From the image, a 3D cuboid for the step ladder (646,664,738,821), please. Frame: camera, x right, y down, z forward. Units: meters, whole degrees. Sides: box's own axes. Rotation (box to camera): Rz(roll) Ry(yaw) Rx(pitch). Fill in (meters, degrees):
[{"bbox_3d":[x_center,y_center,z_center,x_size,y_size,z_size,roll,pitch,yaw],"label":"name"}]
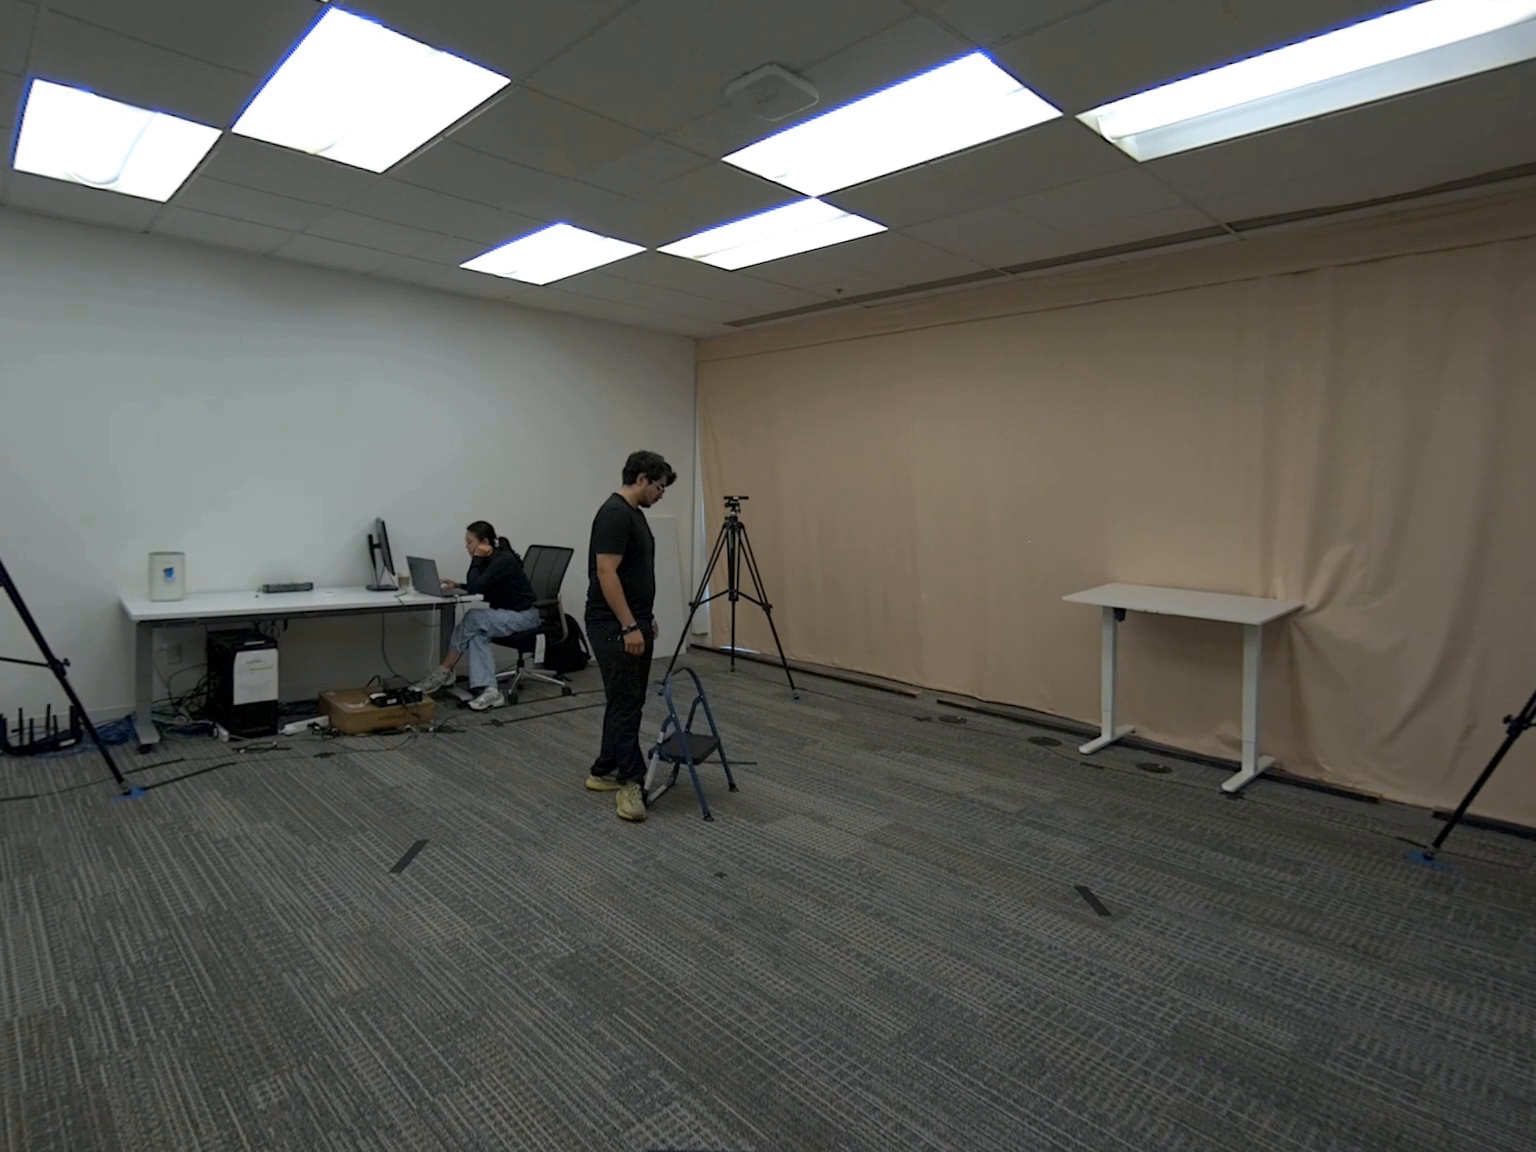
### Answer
[{"bbox_3d":[-0.363,0.733,3.862,0.353,0.605,0.426,2,4,14],"label":"step ladder"}]
